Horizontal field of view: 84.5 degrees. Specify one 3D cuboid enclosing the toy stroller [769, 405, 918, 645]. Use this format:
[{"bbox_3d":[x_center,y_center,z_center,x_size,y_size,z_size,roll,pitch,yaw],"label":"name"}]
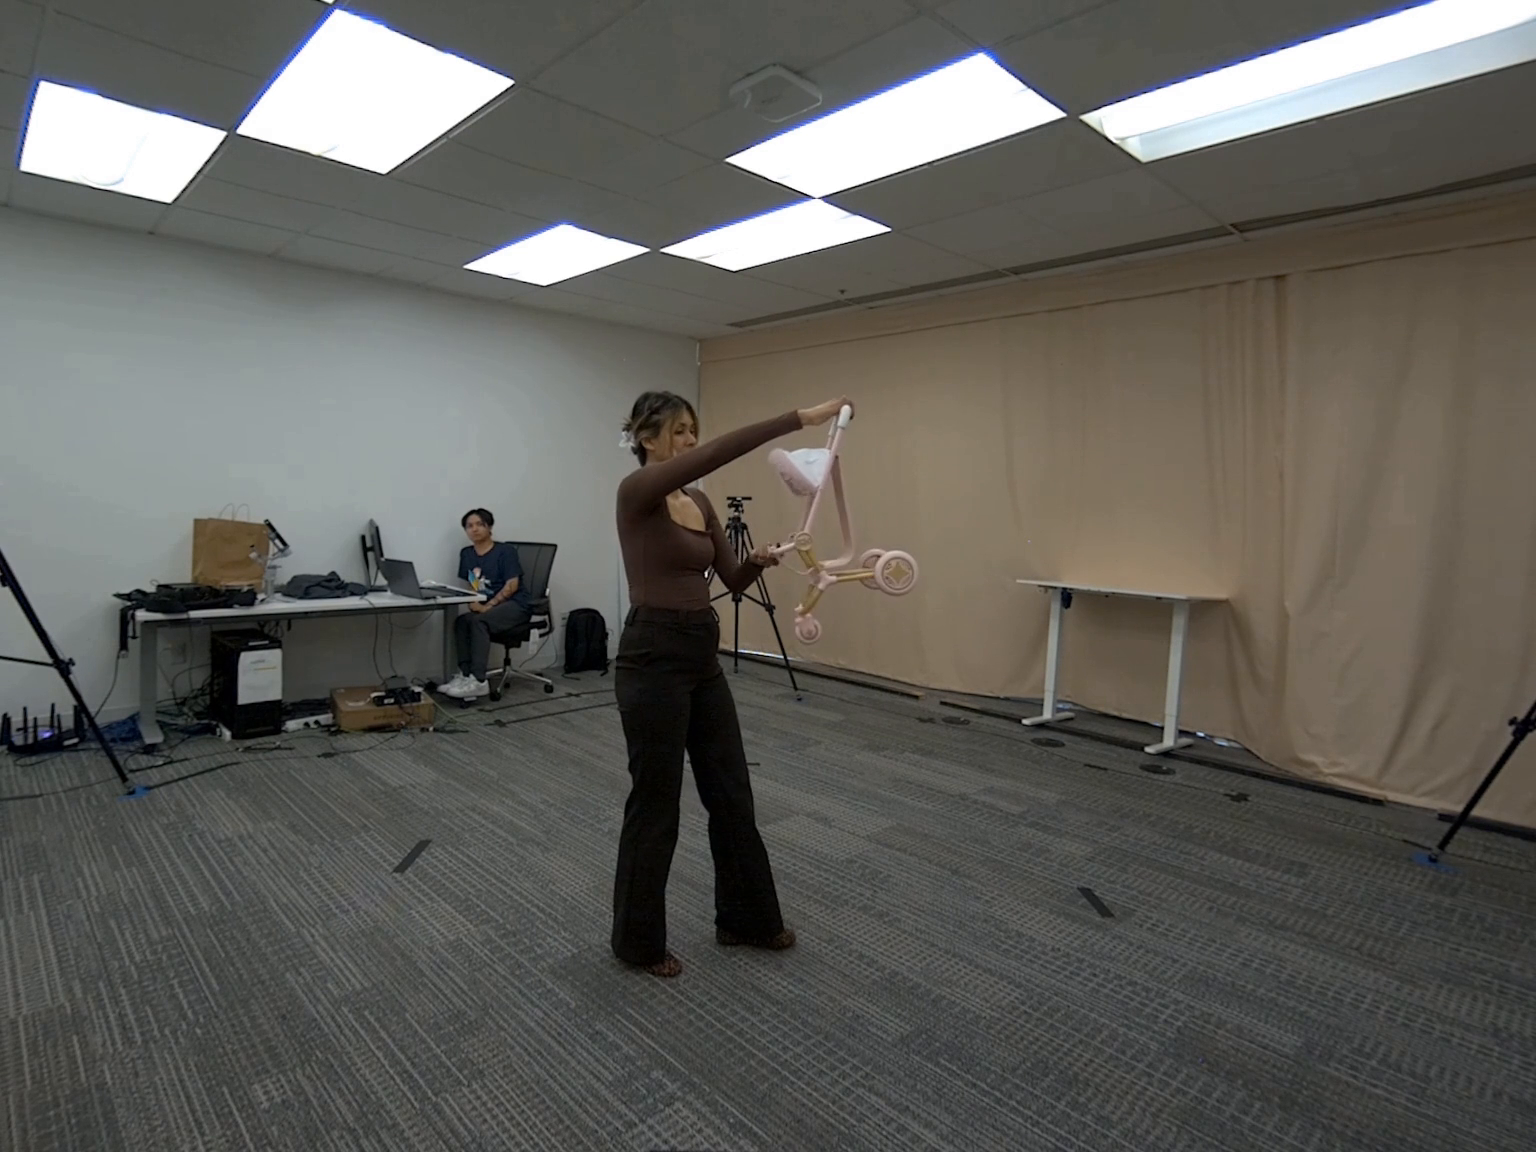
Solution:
[{"bbox_3d":[0.134,-0.120,2.180,0.342,0.534,0.281,-20,2,5],"label":"toy stroller"}]
